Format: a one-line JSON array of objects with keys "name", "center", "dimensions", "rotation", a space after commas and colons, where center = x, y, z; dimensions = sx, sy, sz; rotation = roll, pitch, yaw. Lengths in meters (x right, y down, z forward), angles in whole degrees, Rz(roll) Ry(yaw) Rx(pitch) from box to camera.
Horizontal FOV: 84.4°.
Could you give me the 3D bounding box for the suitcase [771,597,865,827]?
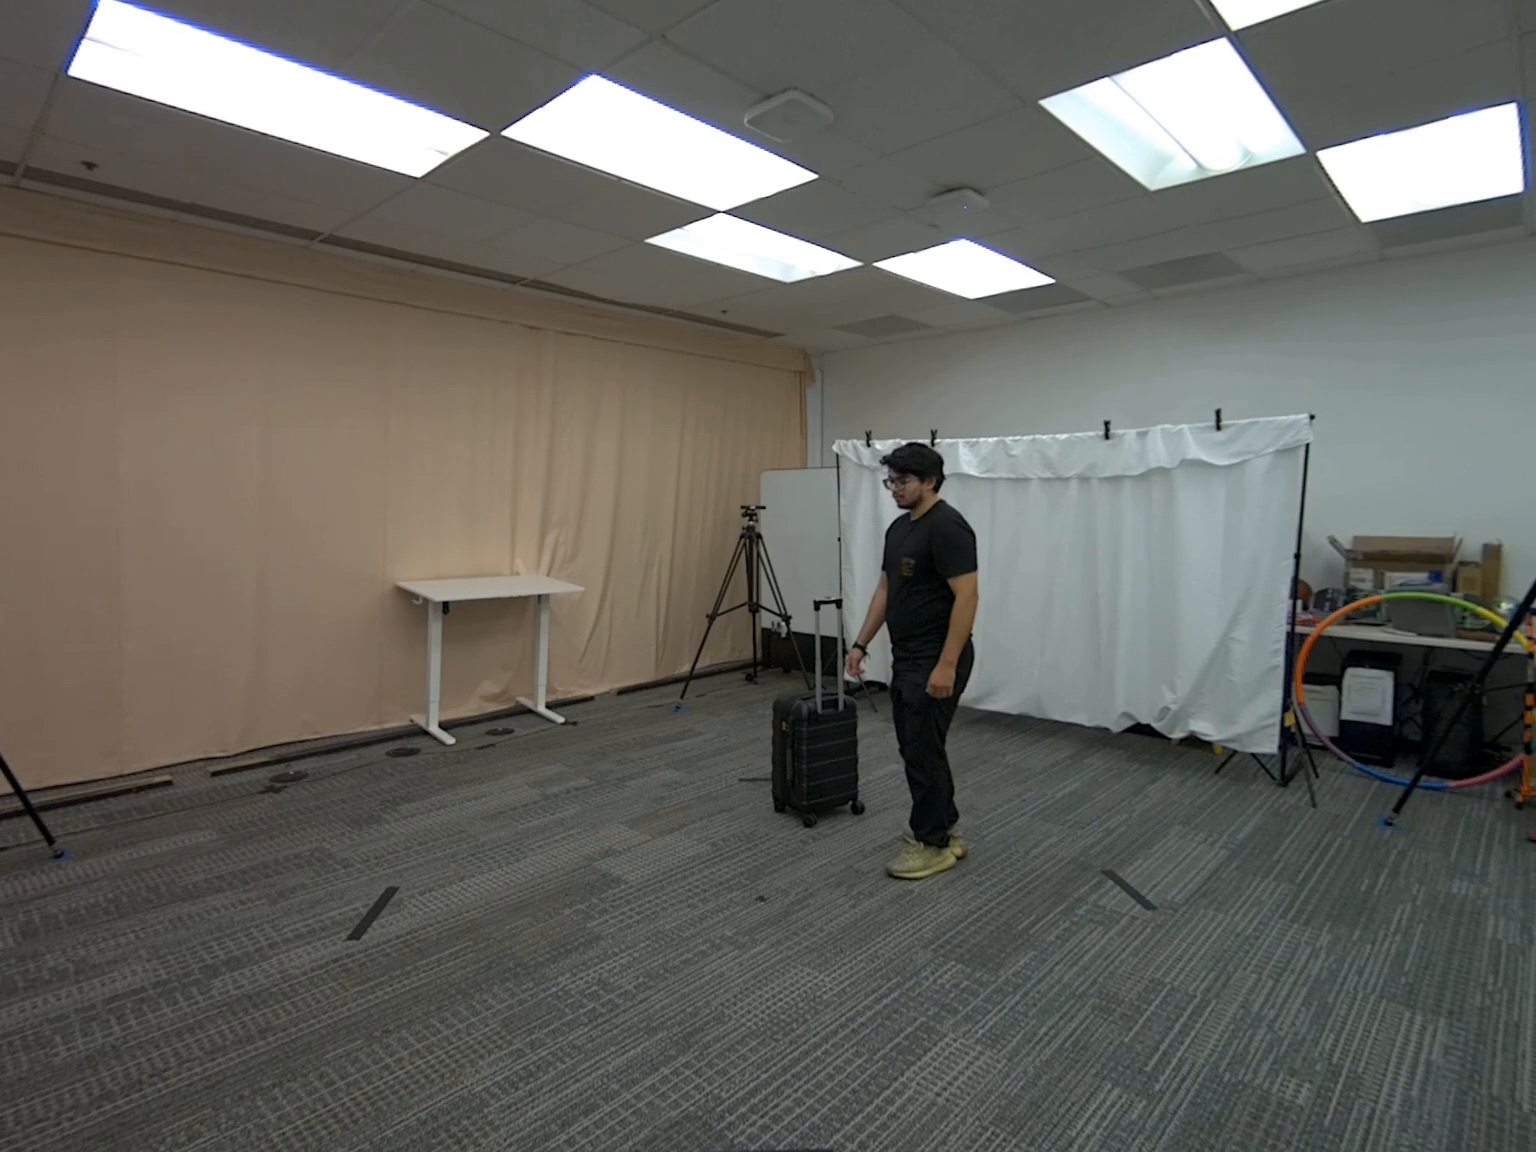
[{"name": "suitcase", "center": [0.209, 0.596, 3.822], "dimensions": [0.373, 0.978, 0.264], "rotation": [-2, 1, -33]}]
